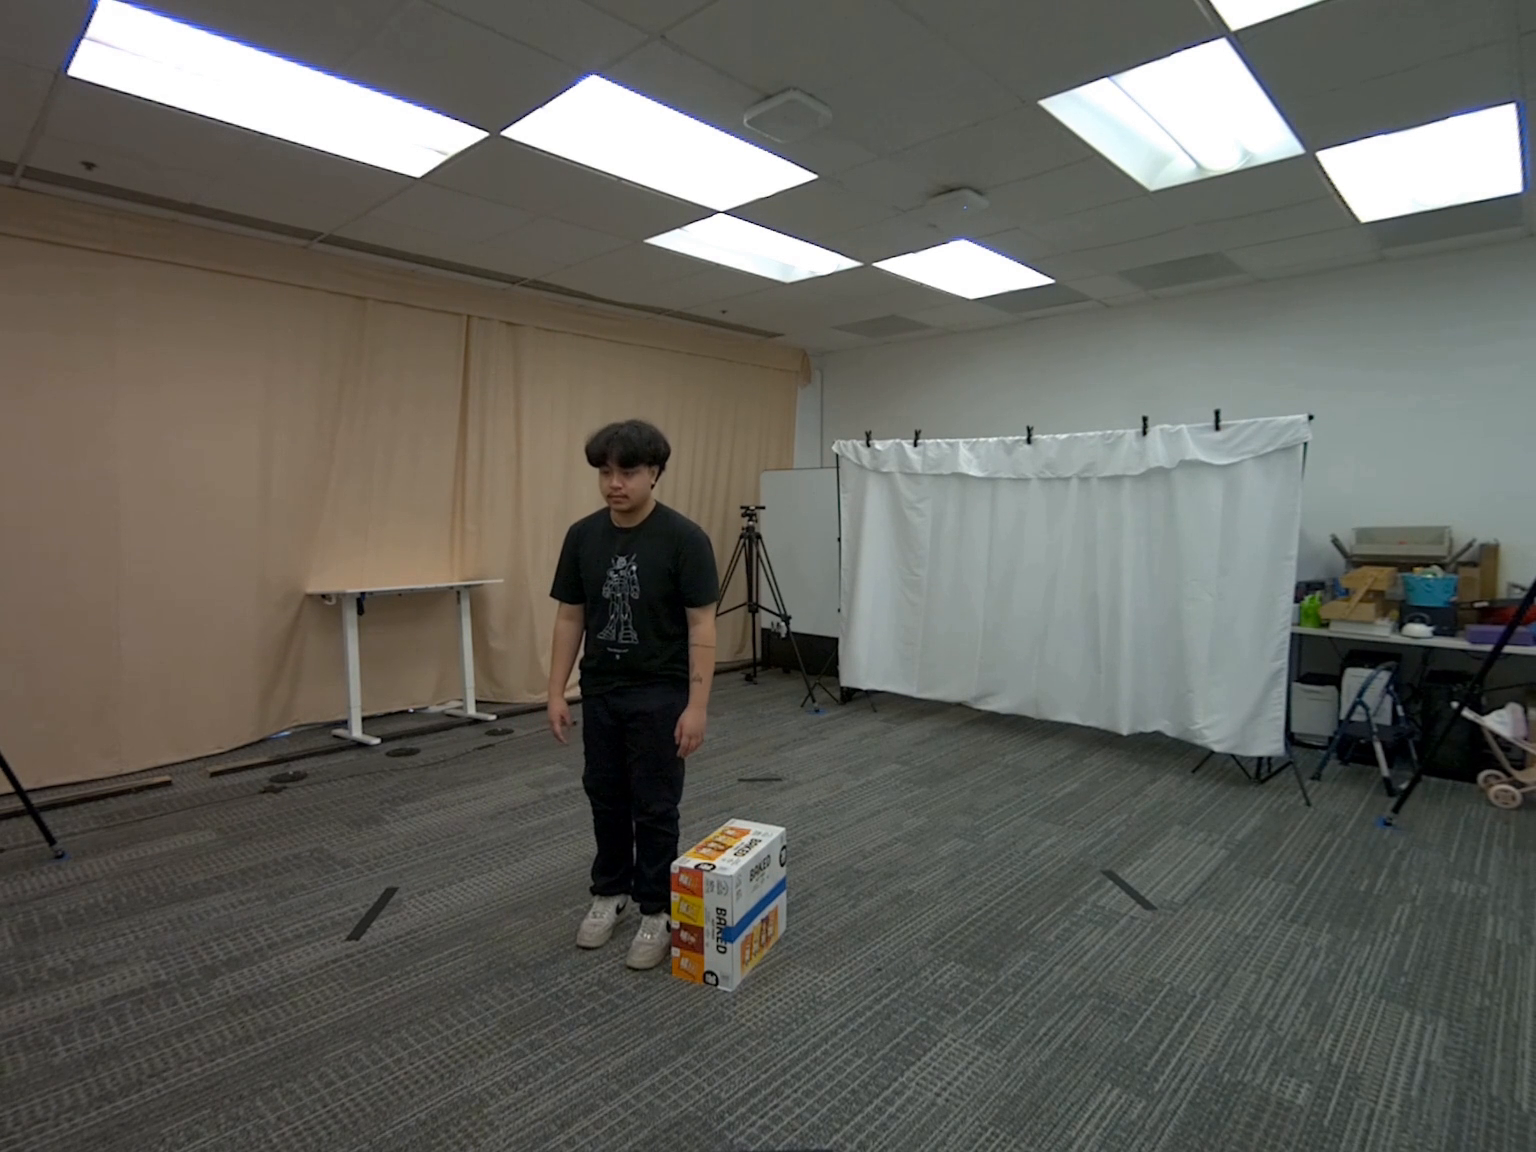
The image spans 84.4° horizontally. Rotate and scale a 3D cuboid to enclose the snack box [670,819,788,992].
[{"bbox_3d":[-0.109,1.005,2.621,0.211,0.340,0.395,1,4,25],"label":"snack box"}]
